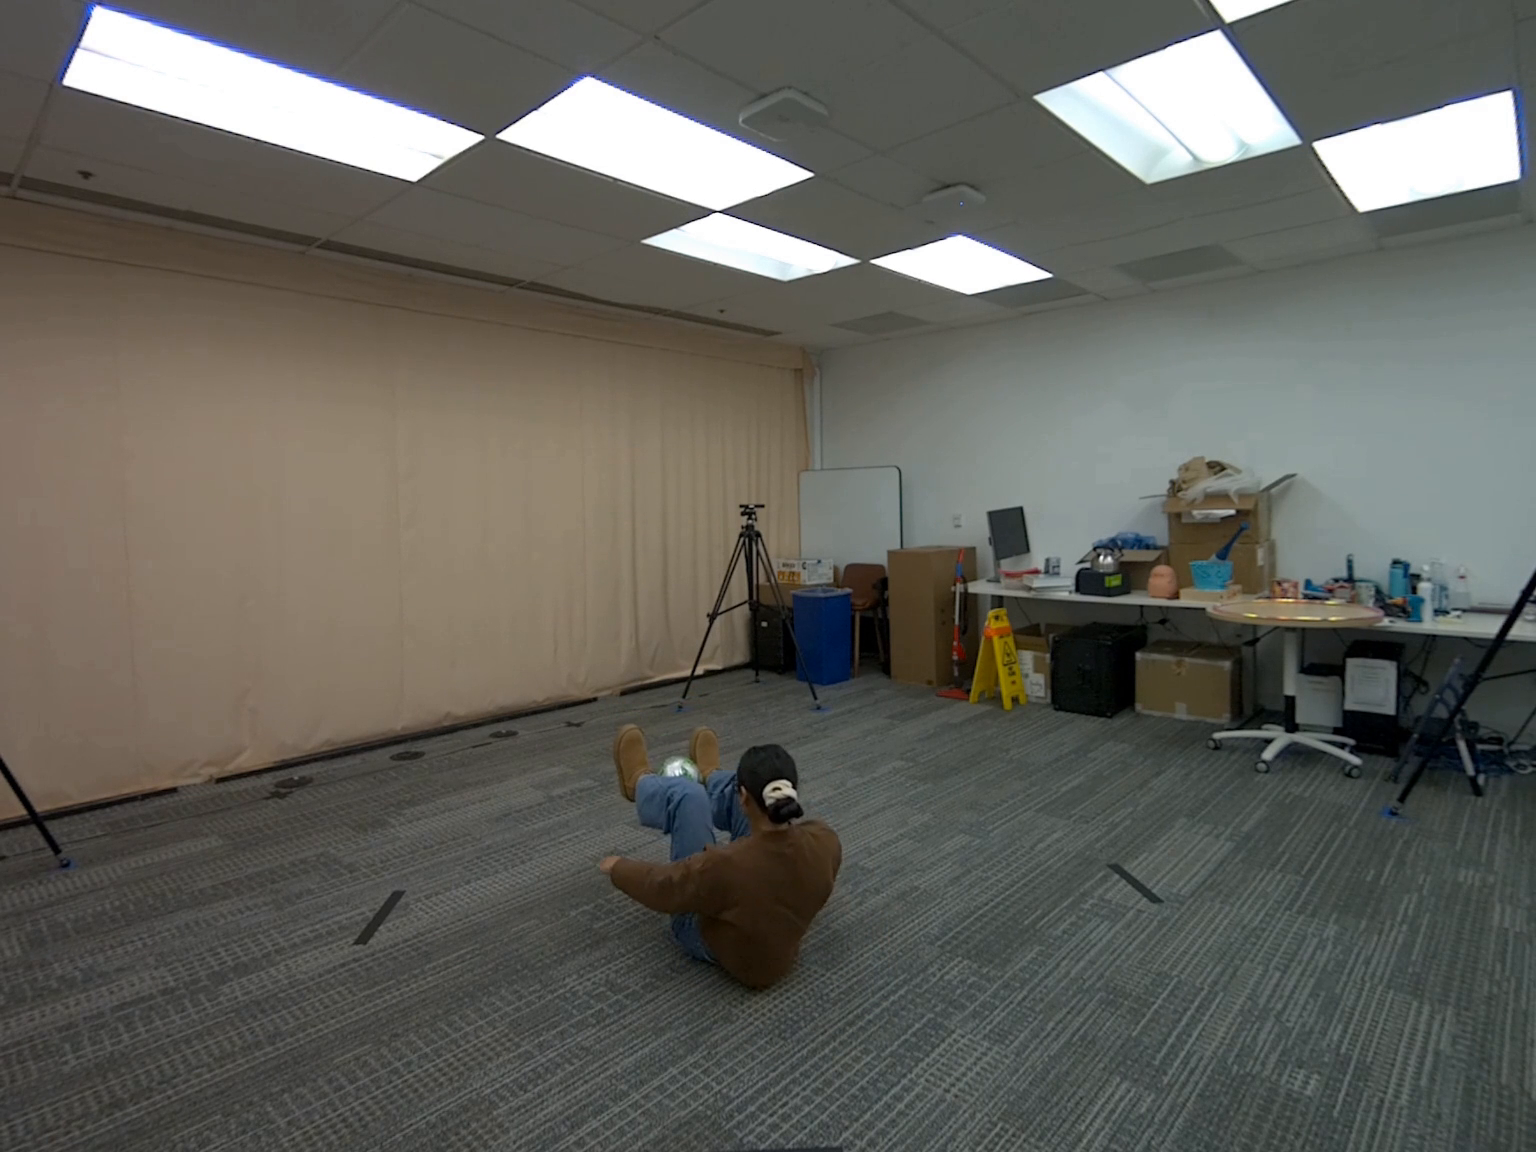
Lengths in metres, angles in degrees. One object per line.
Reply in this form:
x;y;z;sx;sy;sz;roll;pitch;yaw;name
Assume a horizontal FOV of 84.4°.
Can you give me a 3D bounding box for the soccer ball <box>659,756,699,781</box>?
-0.338;0.751;3.063;0.187;0.187;0.188;-1;4;-2;soccer ball
